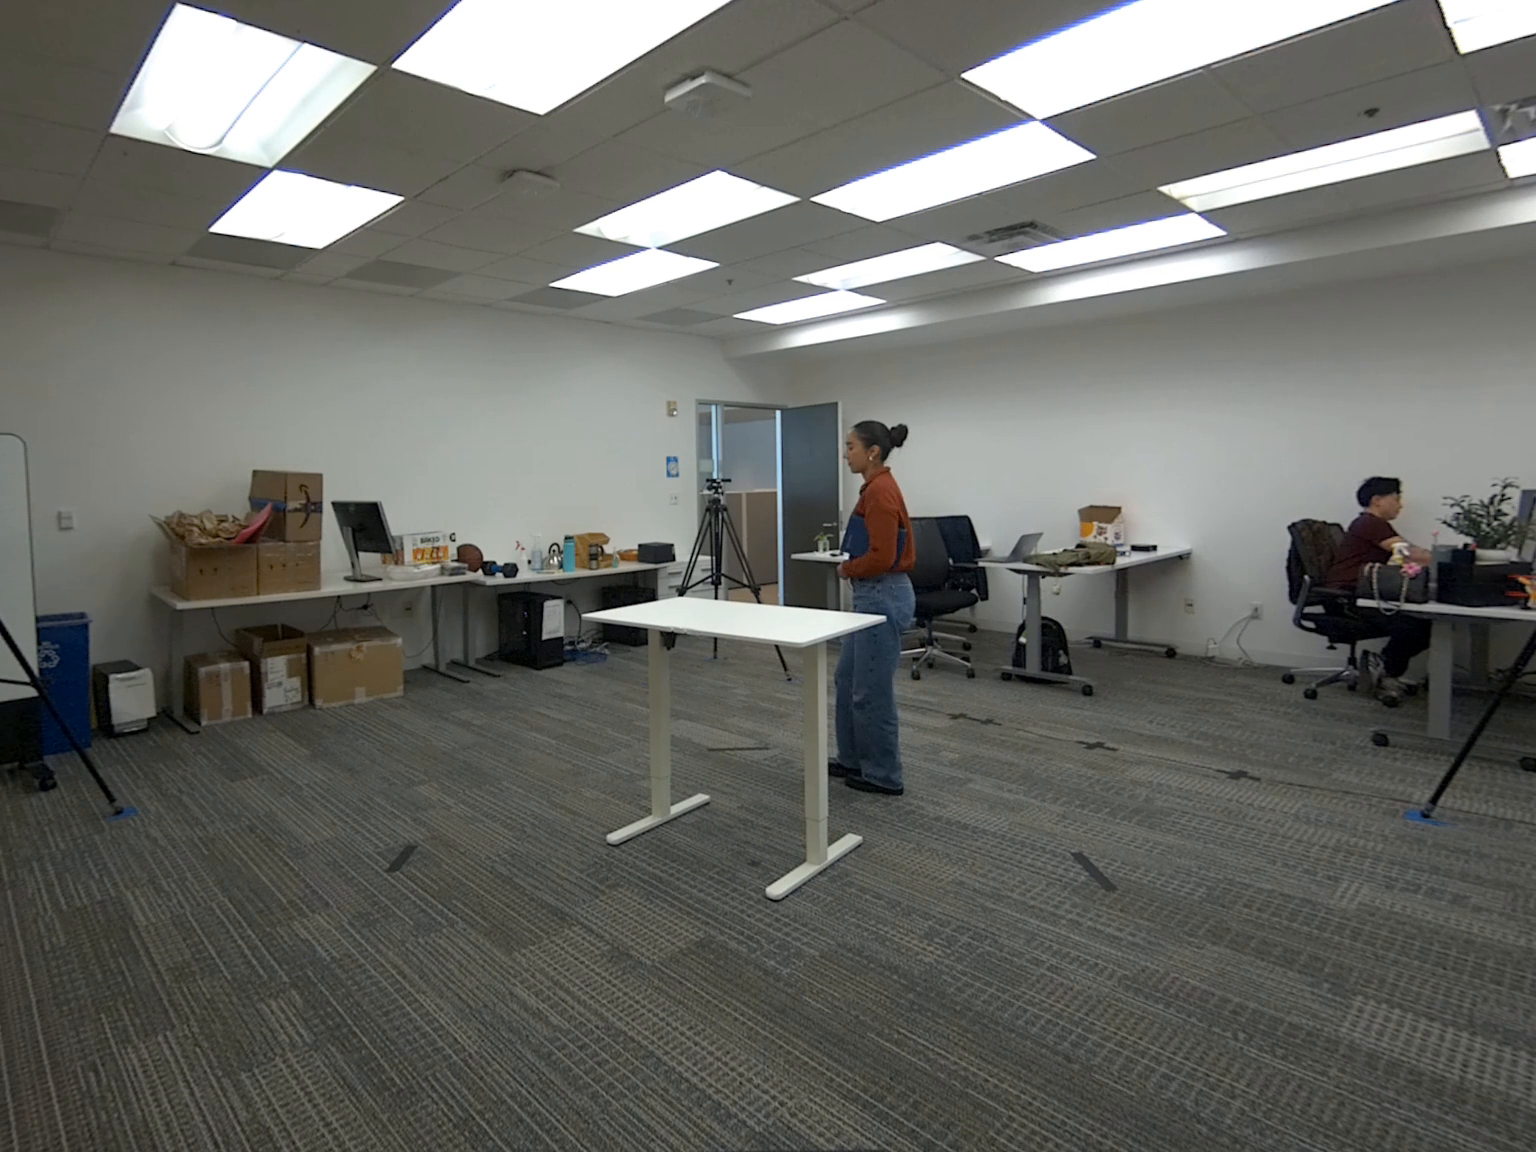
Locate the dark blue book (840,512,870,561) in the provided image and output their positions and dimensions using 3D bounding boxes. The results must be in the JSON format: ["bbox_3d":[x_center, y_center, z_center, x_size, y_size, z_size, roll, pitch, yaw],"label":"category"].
[{"bbox_3d":[0.435,-0.149,3.611,0.244,0.164,0.045,16,-7,-2],"label":"dark blue book"}]
